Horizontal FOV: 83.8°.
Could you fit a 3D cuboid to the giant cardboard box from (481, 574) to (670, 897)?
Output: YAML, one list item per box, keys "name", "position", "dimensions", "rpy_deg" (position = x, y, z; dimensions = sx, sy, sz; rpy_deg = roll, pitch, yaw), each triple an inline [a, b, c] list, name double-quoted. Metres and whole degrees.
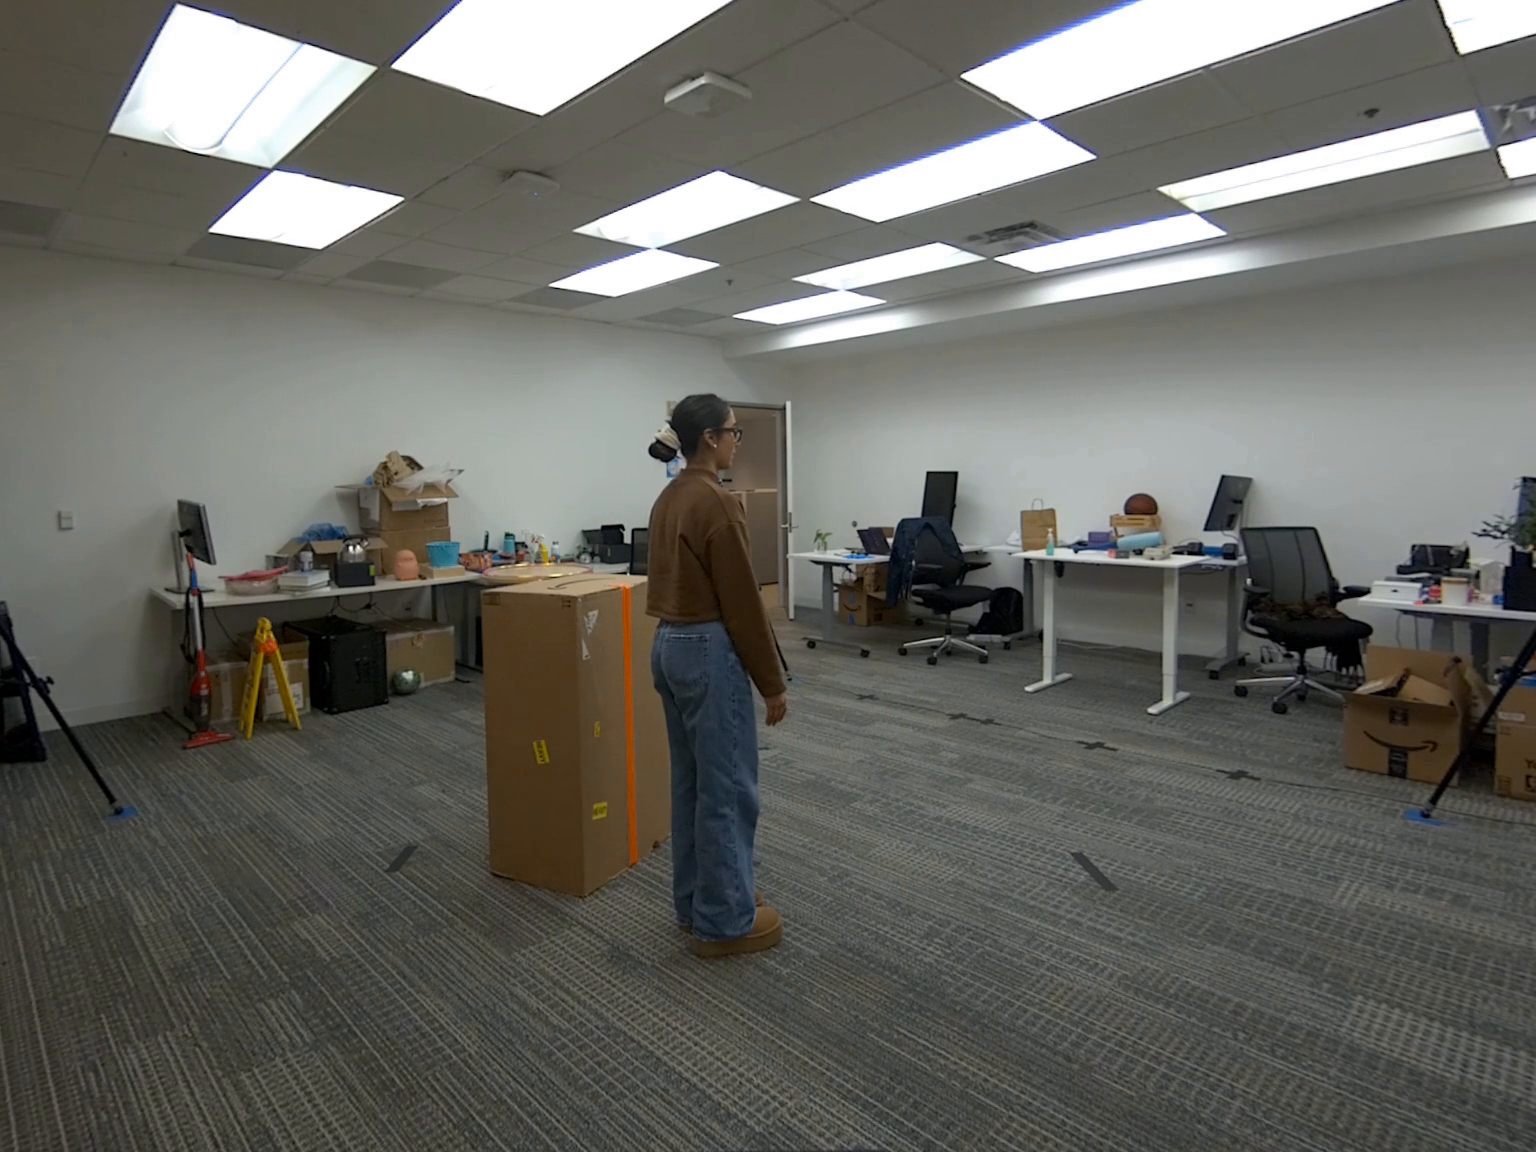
- name: "giant cardboard box"
  position: [-0.699, 0.538, 3.188]
  dimensions: [0.436, 1.022, 0.566]
  rpy_deg: [1, 4, 25]
